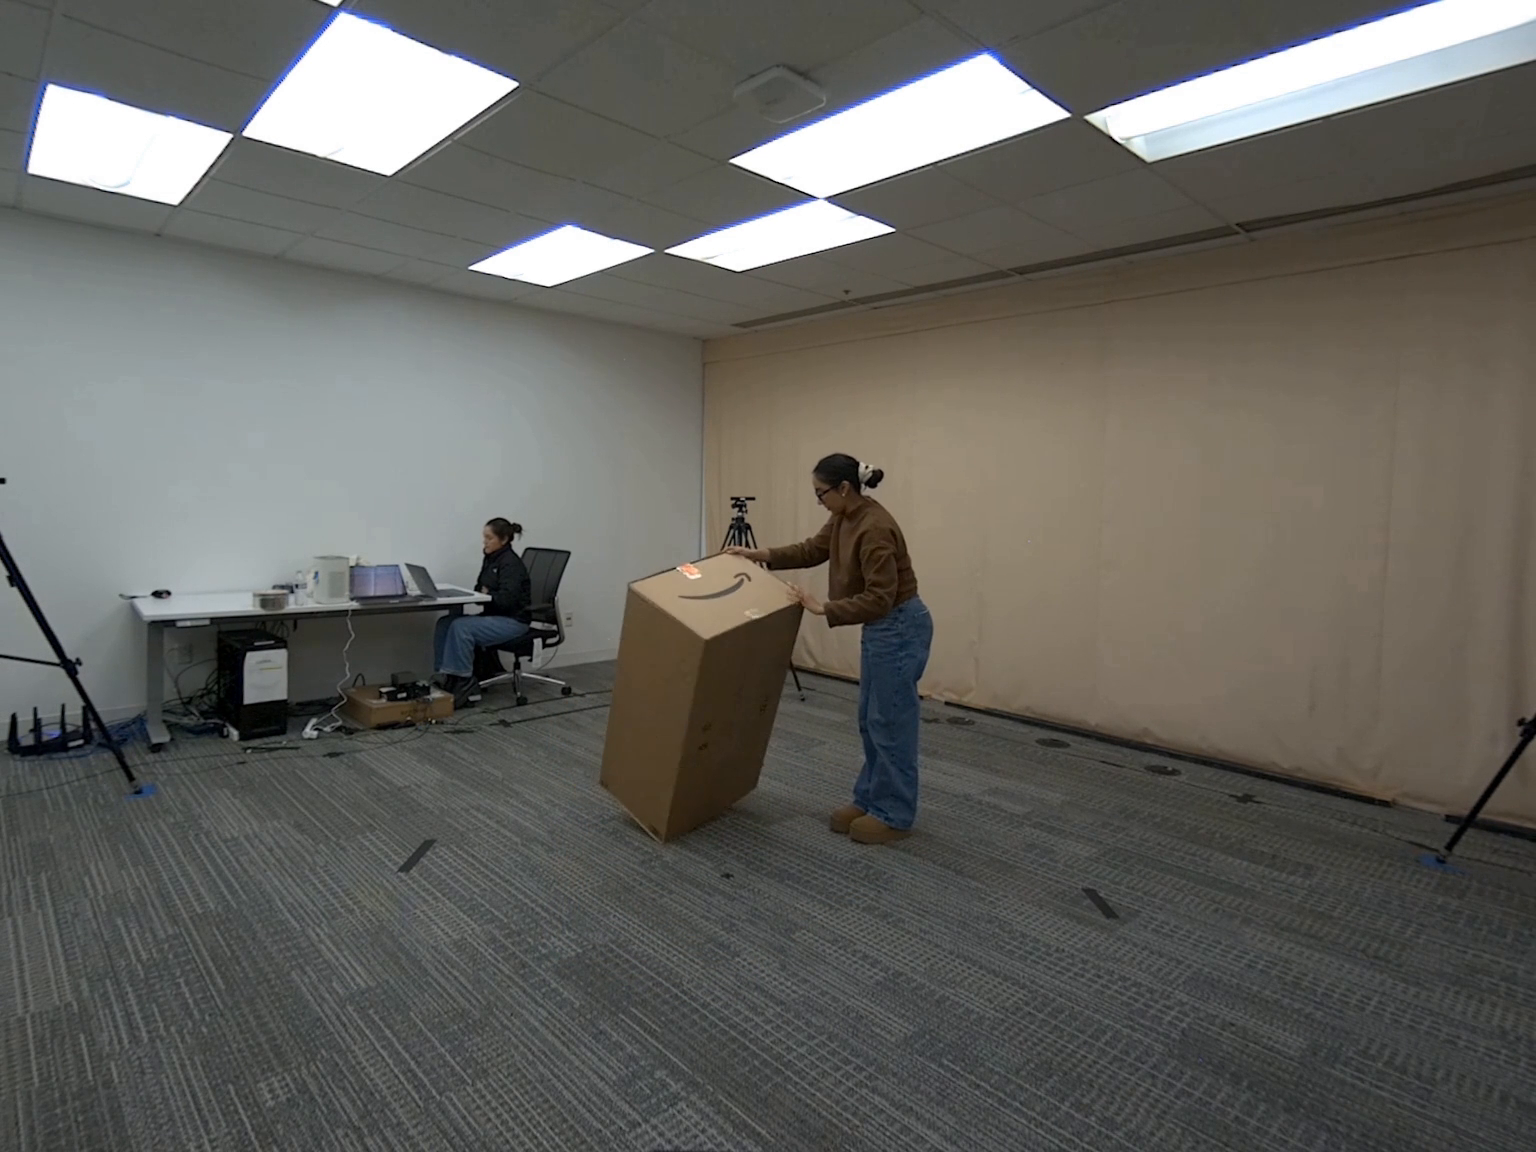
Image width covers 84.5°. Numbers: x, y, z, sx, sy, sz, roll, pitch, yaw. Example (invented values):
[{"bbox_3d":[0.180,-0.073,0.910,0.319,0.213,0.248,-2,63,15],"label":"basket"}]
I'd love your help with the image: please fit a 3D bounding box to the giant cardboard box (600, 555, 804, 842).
[{"bbox_3d":[-0.291,0.493,3.455,0.460,1.013,0.575,32,33,31],"label":"giant cardboard box"}]
